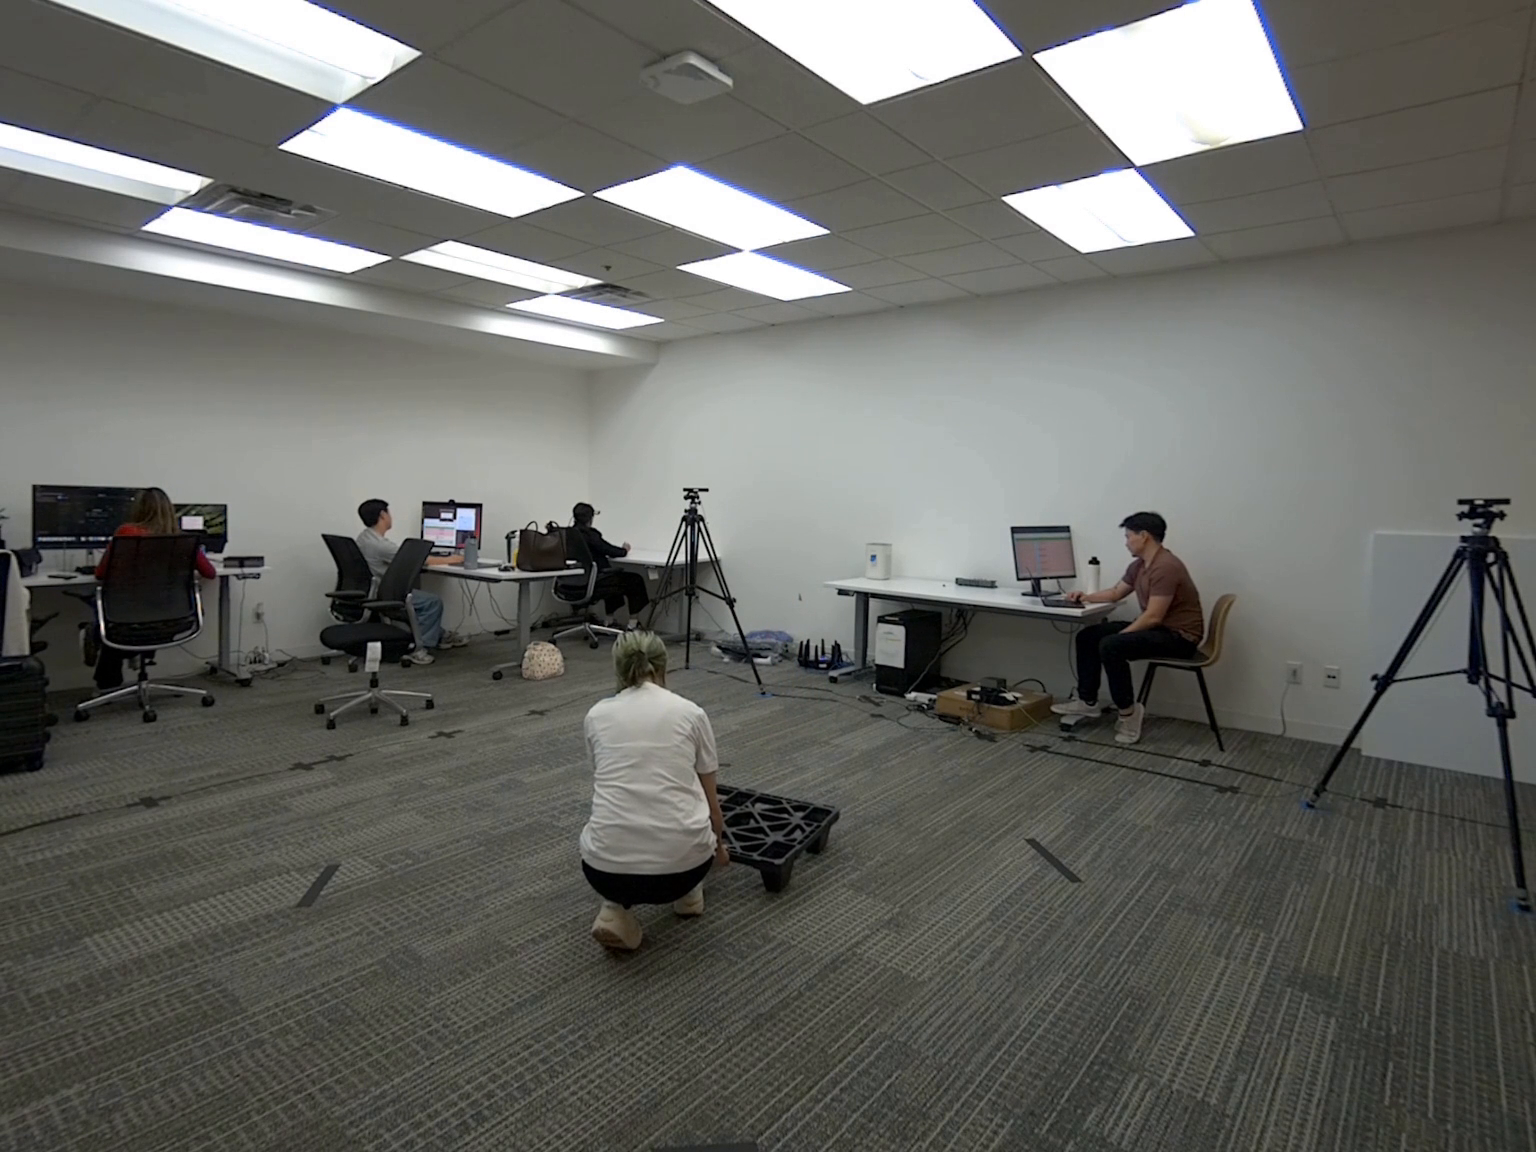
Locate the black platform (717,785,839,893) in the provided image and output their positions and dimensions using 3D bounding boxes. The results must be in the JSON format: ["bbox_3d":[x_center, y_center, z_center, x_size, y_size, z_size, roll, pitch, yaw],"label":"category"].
[{"bbox_3d":[-0.199,0.984,3.303,0.827,0.143,0.591,3,6,27],"label":"black platform"}]
